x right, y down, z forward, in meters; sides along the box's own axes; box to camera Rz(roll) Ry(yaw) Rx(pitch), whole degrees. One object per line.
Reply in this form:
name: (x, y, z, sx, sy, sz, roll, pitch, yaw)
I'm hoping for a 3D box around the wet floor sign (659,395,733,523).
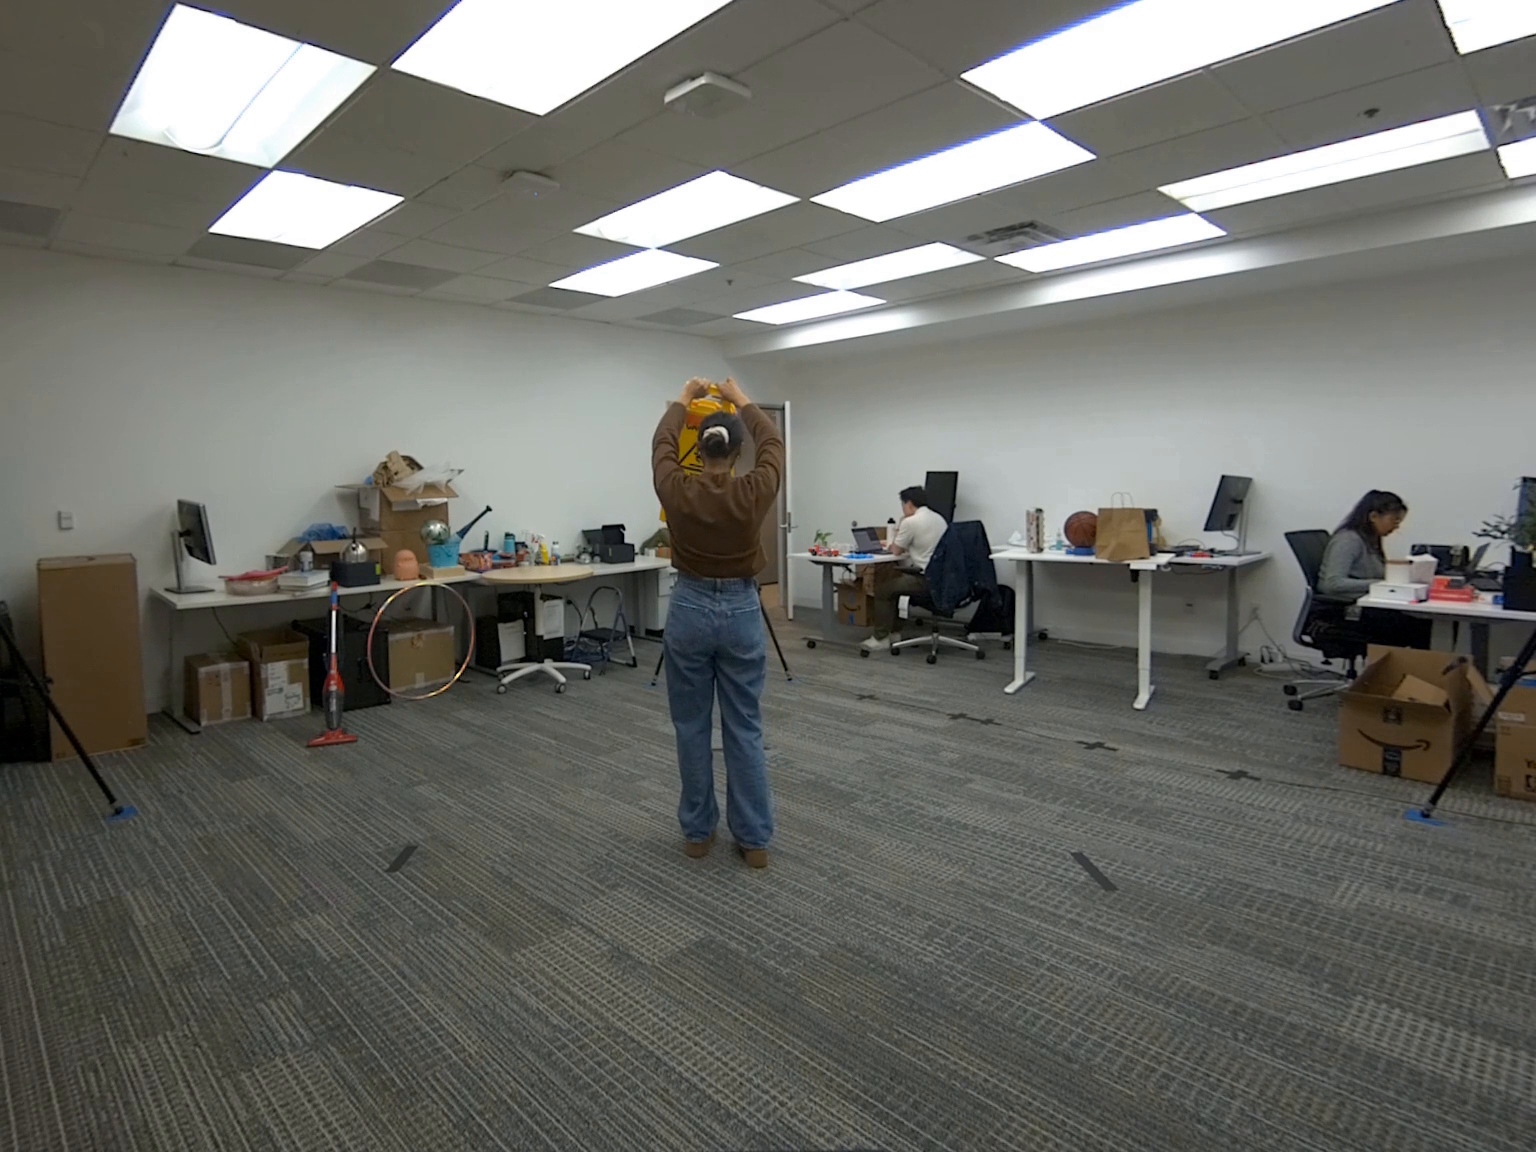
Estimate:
wet floor sign: (-0.252, -0.524, 3.613, 0.284, 0.631, 0.295, 10, 42, 3)
